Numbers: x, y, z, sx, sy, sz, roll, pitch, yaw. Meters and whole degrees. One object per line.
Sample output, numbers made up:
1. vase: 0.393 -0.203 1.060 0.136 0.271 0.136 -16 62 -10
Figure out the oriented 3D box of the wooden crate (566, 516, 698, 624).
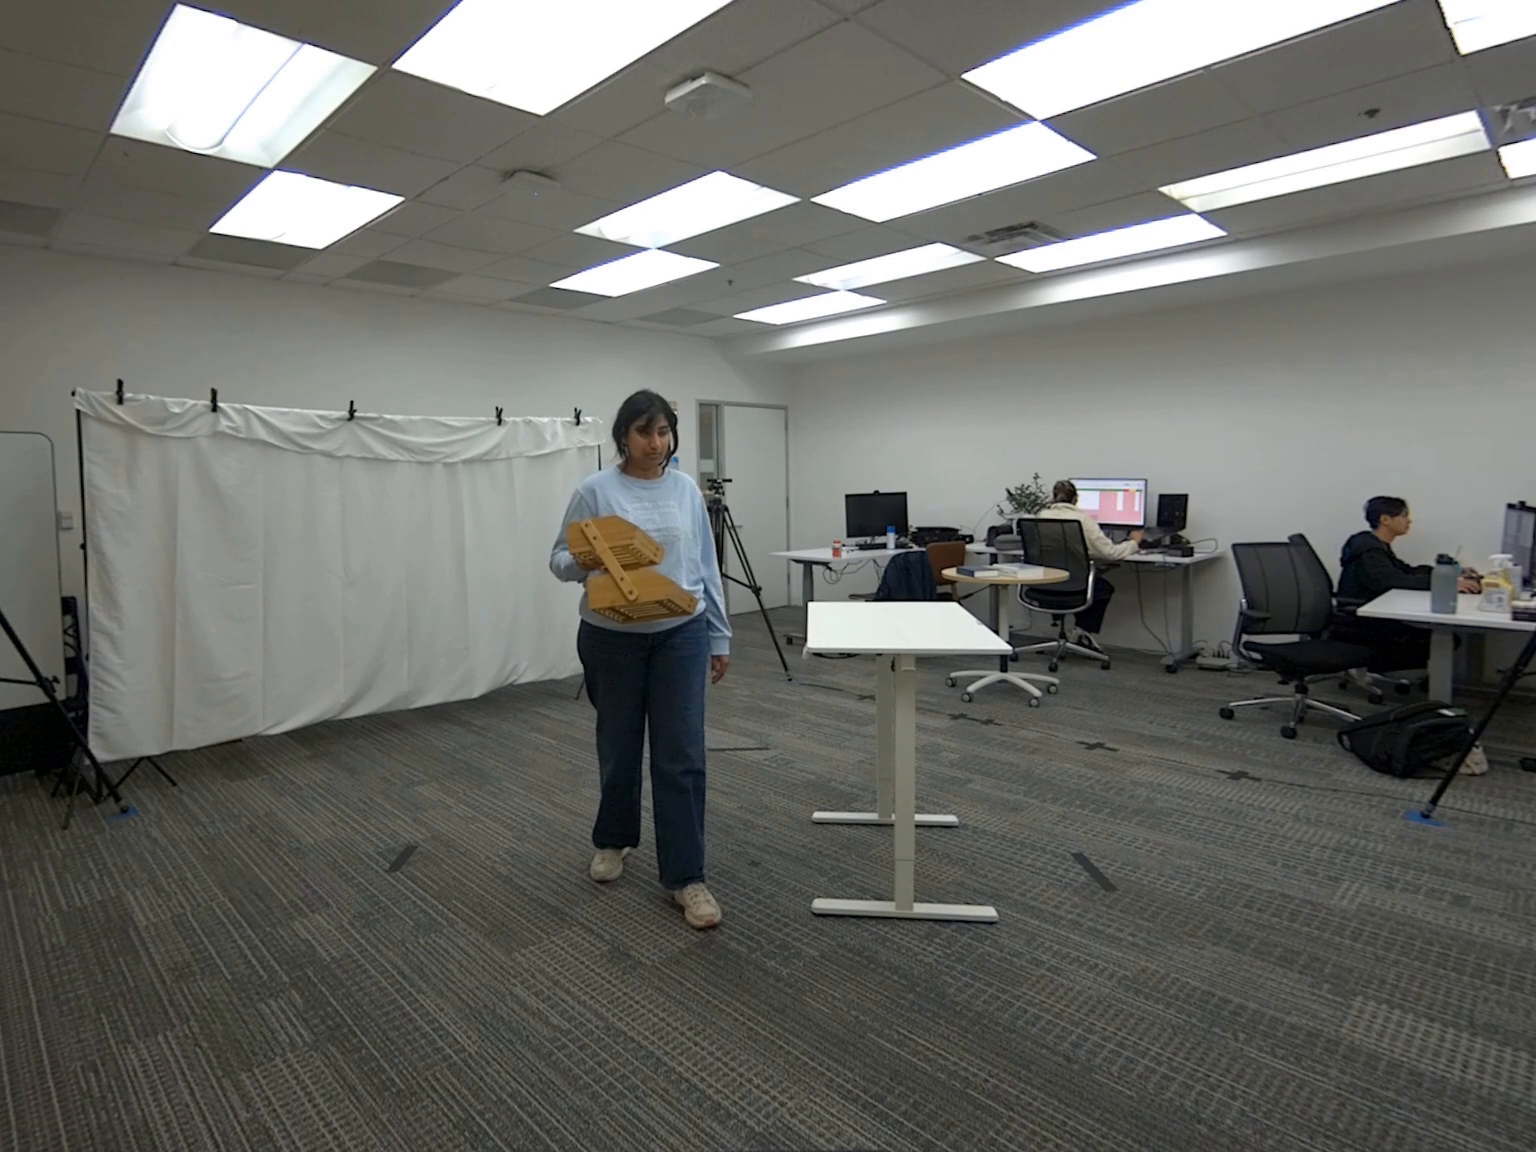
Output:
1. wooden crate: -0.393 -0.023 2.514 0.304 0.277 0.317 -9 -14 7
